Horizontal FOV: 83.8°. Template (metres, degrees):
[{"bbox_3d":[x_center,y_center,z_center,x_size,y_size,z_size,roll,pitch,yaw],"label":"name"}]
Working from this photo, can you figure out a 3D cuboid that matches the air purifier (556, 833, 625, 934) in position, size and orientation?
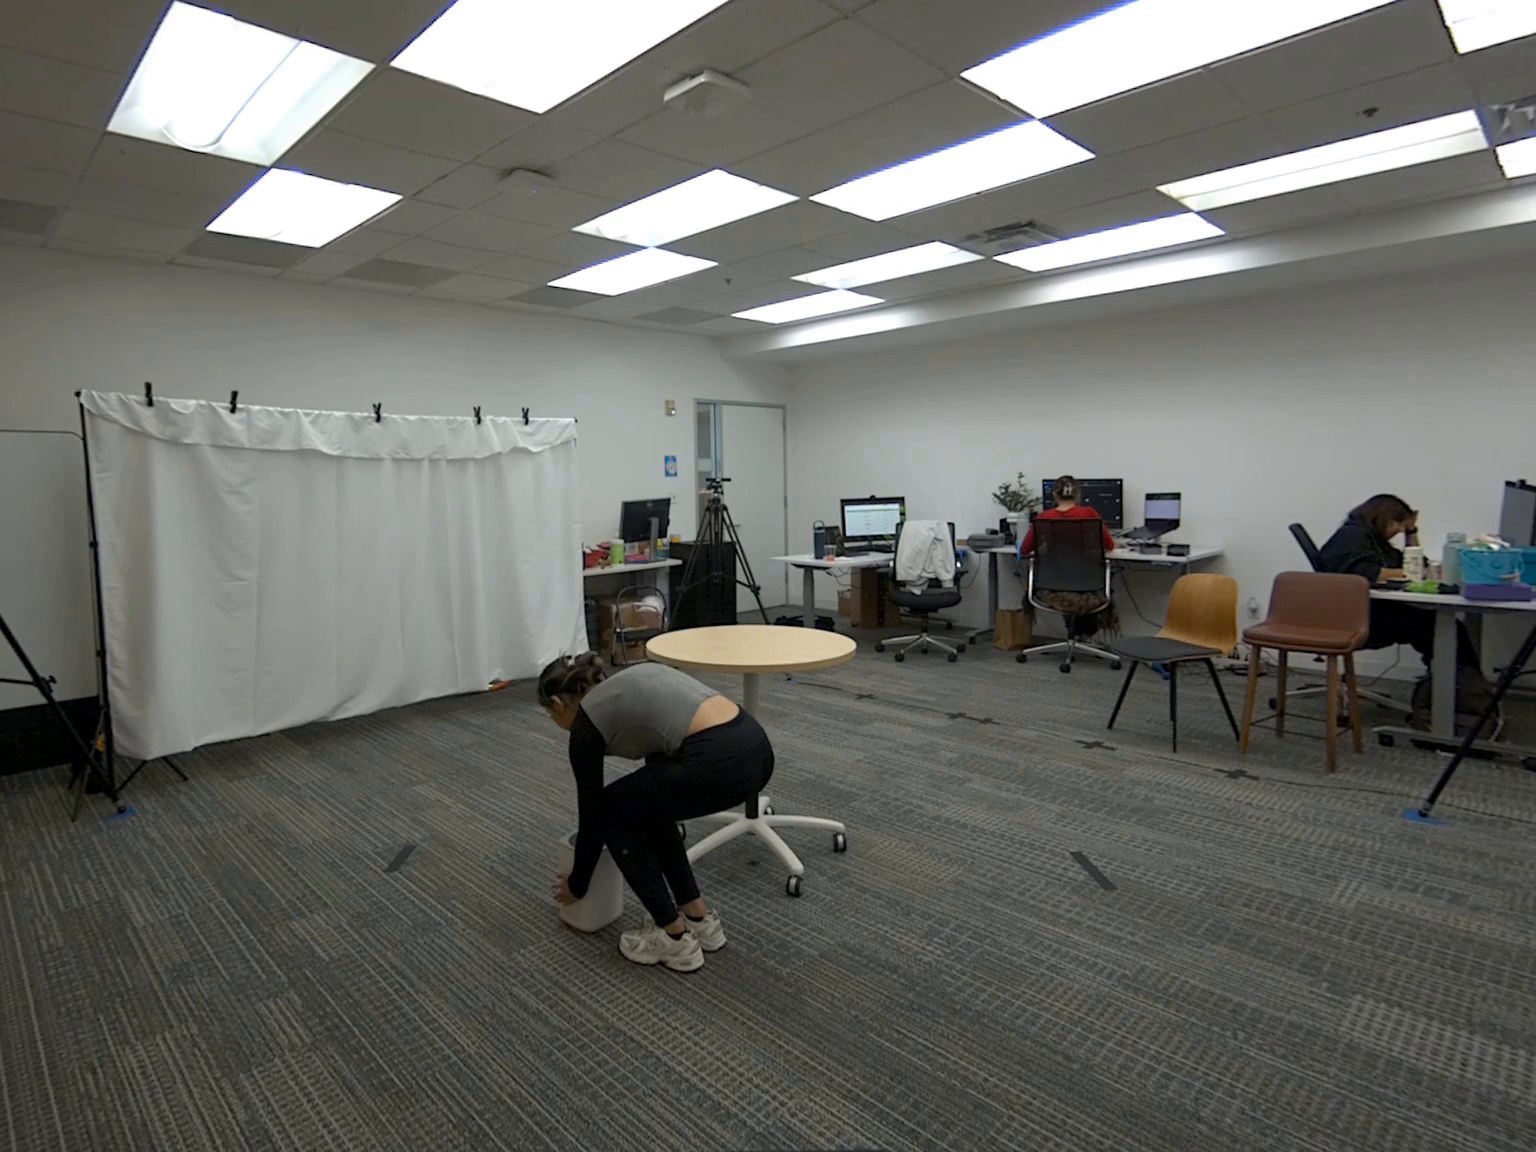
[{"bbox_3d":[-0.559,0.961,2.714,0.176,0.264,0.167,4,7,36],"label":"air purifier"}]
